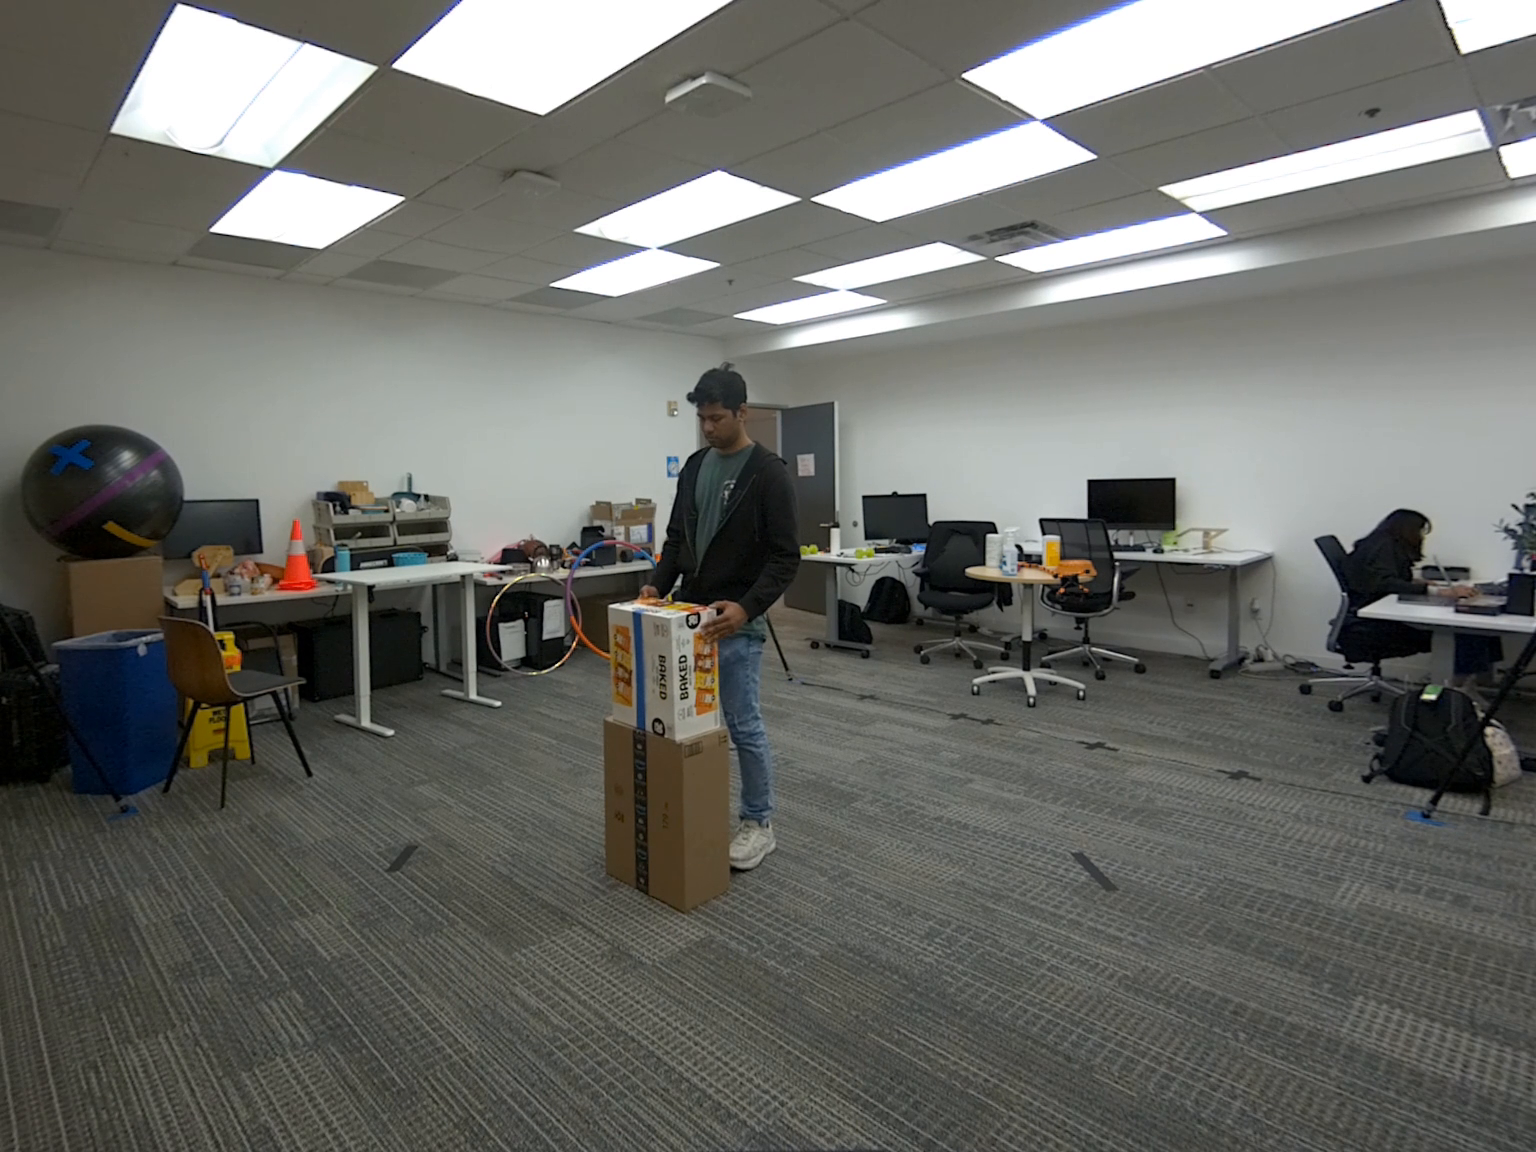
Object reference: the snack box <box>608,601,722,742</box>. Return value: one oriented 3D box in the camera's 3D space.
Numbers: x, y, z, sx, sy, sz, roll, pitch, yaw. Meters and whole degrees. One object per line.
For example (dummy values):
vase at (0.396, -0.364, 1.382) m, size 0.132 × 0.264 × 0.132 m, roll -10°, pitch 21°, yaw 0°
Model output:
snack box at (-0.355, 0.306, 2.910) m, size 0.200 × 0.403 × 0.351 m, roll -8°, pitch 8°, yaw -43°
